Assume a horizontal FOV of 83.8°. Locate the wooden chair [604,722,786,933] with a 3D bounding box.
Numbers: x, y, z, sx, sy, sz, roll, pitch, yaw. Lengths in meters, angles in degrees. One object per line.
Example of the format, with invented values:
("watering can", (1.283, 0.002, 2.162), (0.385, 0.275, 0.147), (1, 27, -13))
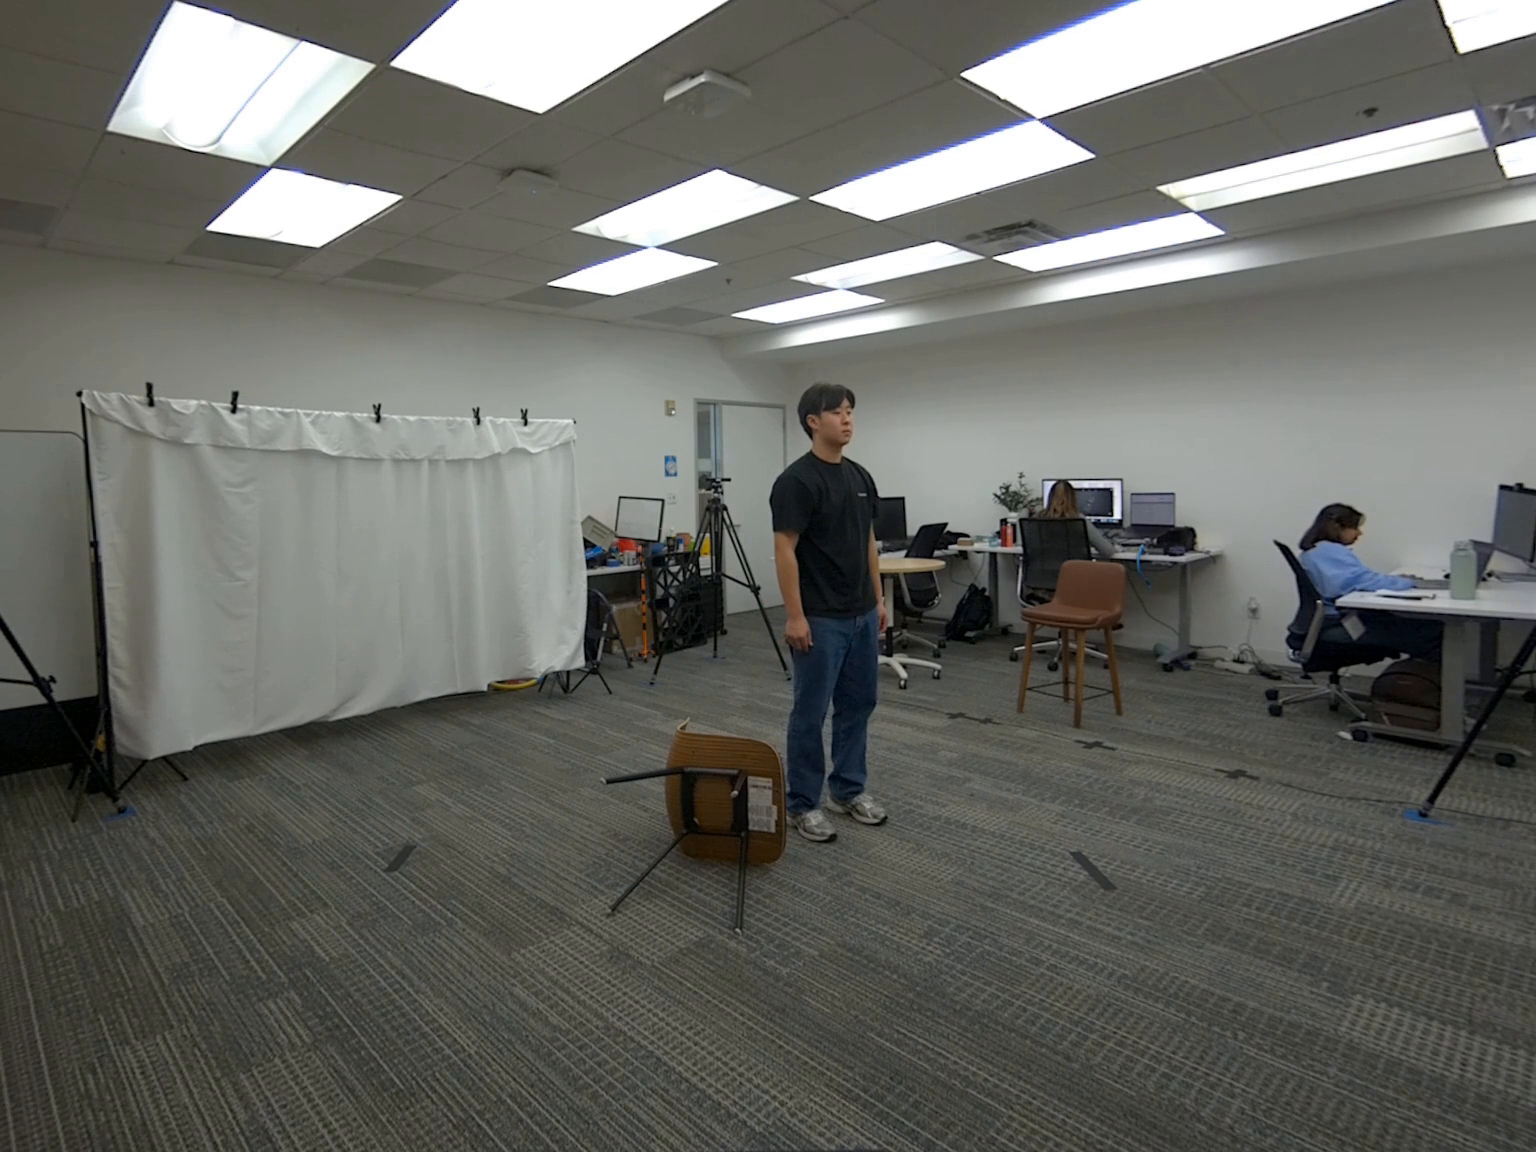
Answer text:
("wooden chair", (-0.196, 0.815, 3.072), (0.530, 0.476, 0.870), (0, 6, 12))
